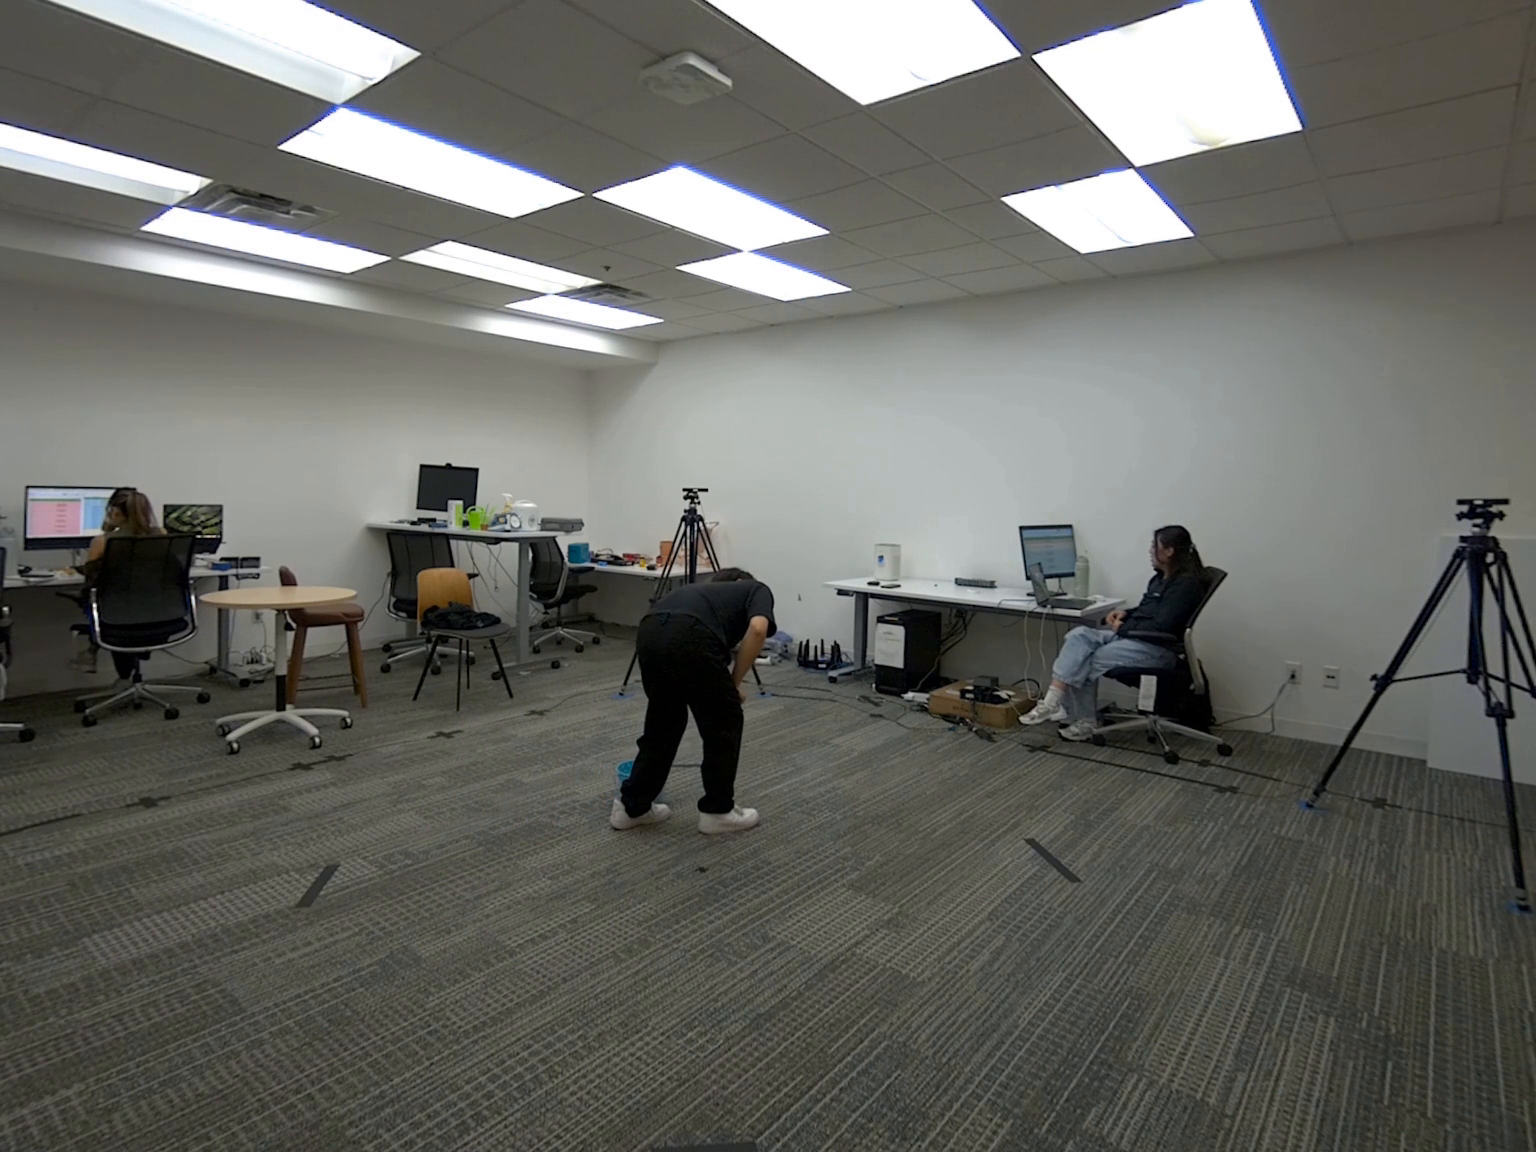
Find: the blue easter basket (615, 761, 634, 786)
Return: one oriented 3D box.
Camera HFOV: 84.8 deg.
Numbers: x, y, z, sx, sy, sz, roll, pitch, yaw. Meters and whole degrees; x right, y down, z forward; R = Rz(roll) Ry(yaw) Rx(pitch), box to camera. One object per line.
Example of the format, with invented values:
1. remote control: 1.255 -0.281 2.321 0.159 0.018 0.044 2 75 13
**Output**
1. blue easter basket: -0.565 0.916 3.767 0.243 0.155 0.245 -1 6 -2
